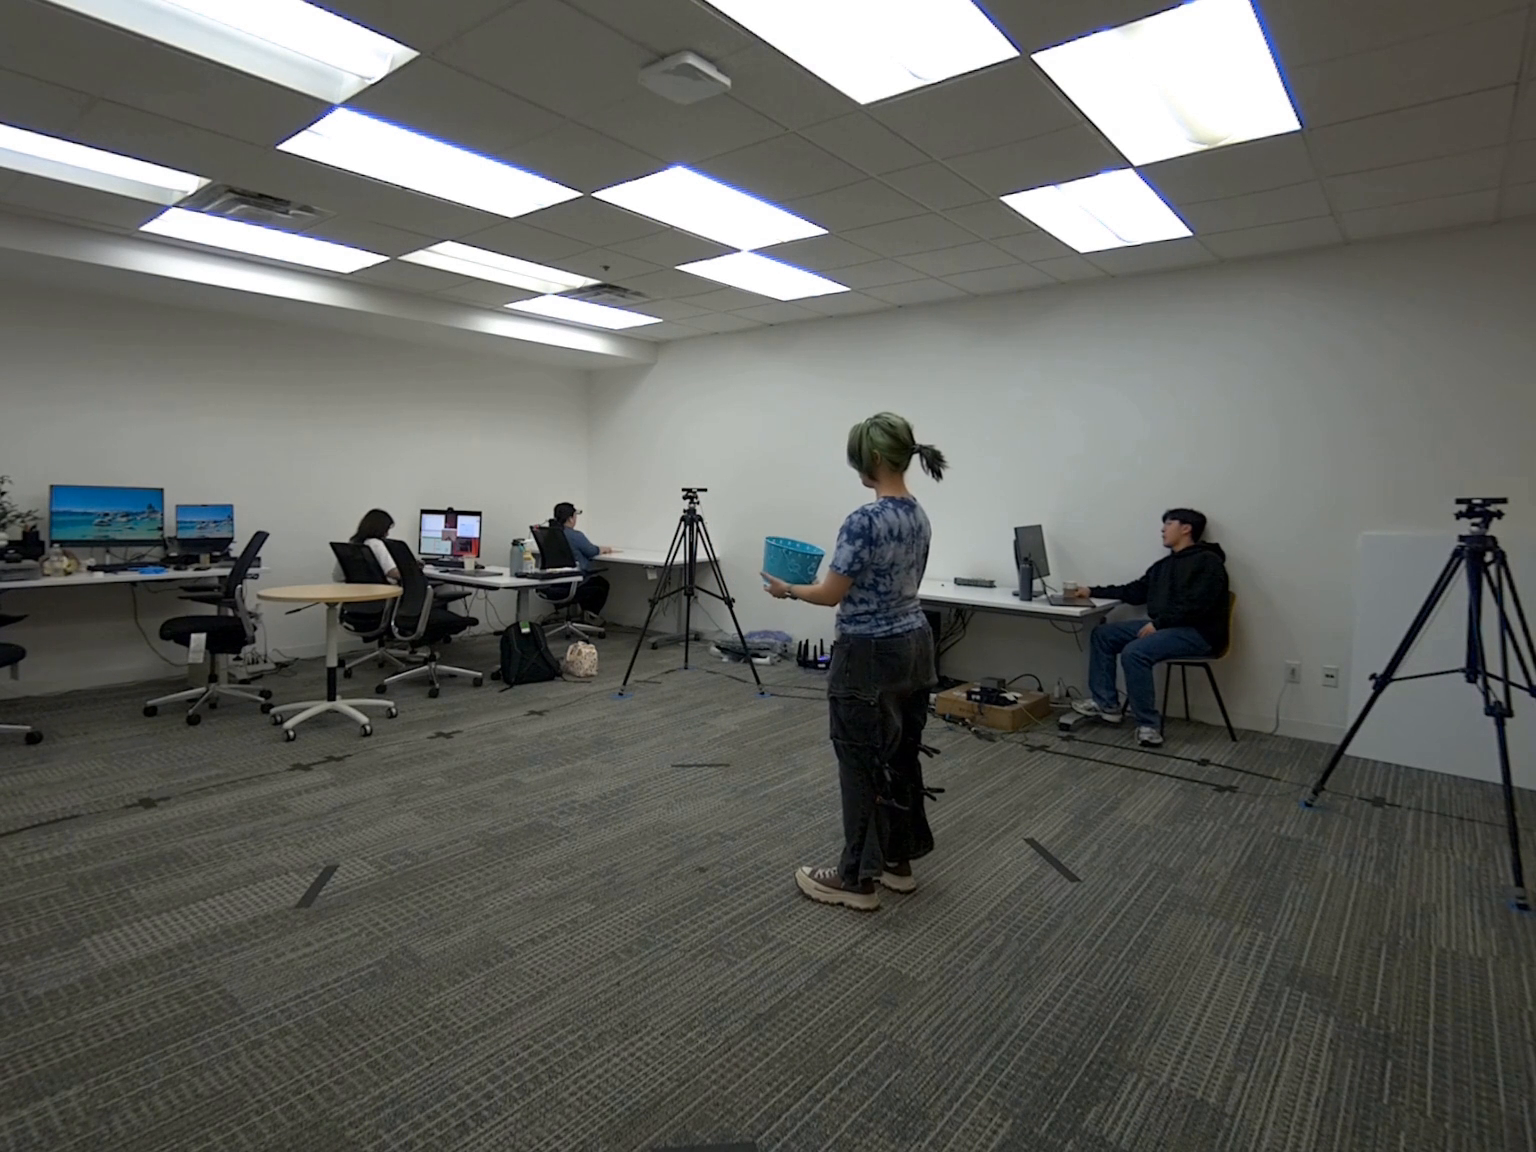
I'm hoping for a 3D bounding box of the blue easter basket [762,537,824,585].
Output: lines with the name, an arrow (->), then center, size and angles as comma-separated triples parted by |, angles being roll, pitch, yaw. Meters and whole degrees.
blue easter basket -> 0.072, -0.041, 3.130 | 0.243, 0.155, 0.246 | 12, 8, -3
